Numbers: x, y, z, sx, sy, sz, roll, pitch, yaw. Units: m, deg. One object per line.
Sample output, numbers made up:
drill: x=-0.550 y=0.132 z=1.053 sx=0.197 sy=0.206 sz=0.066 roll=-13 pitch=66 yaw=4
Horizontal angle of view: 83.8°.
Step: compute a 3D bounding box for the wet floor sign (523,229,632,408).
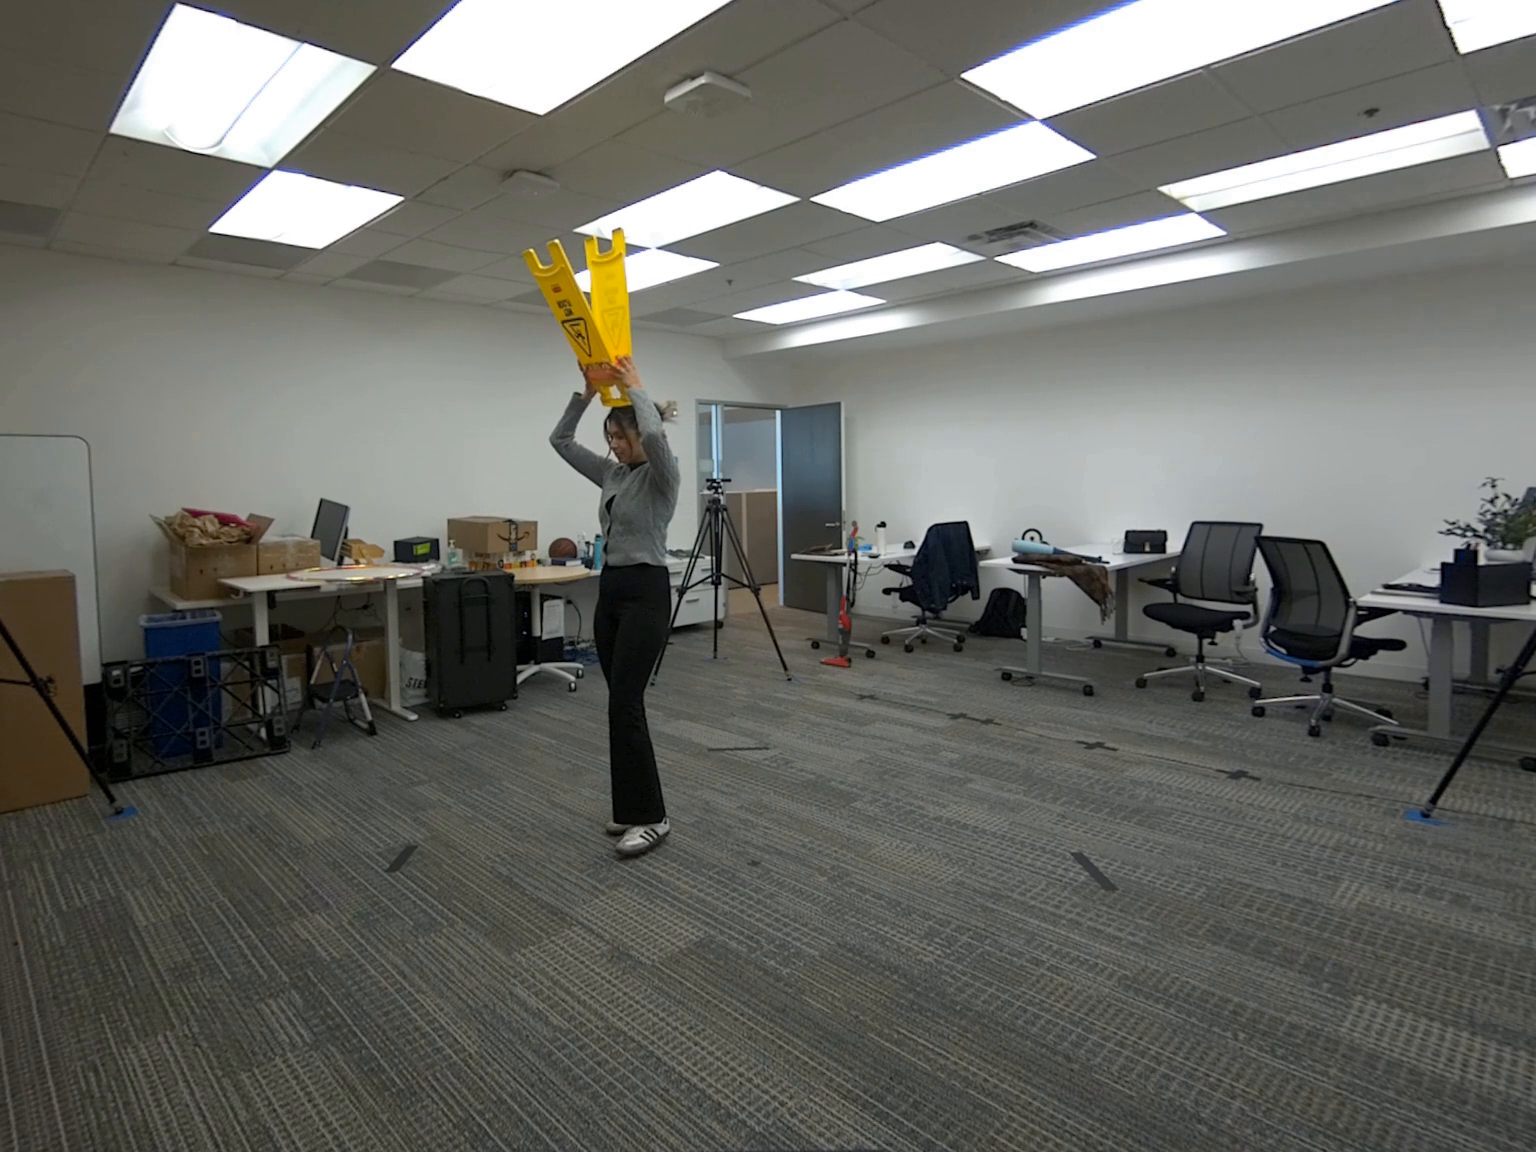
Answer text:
wet floor sign: x=-0.656 y=-0.962 z=3.291 sx=0.286 sy=0.633 sz=0.291 roll=-27 pitch=23 yaw=-34
